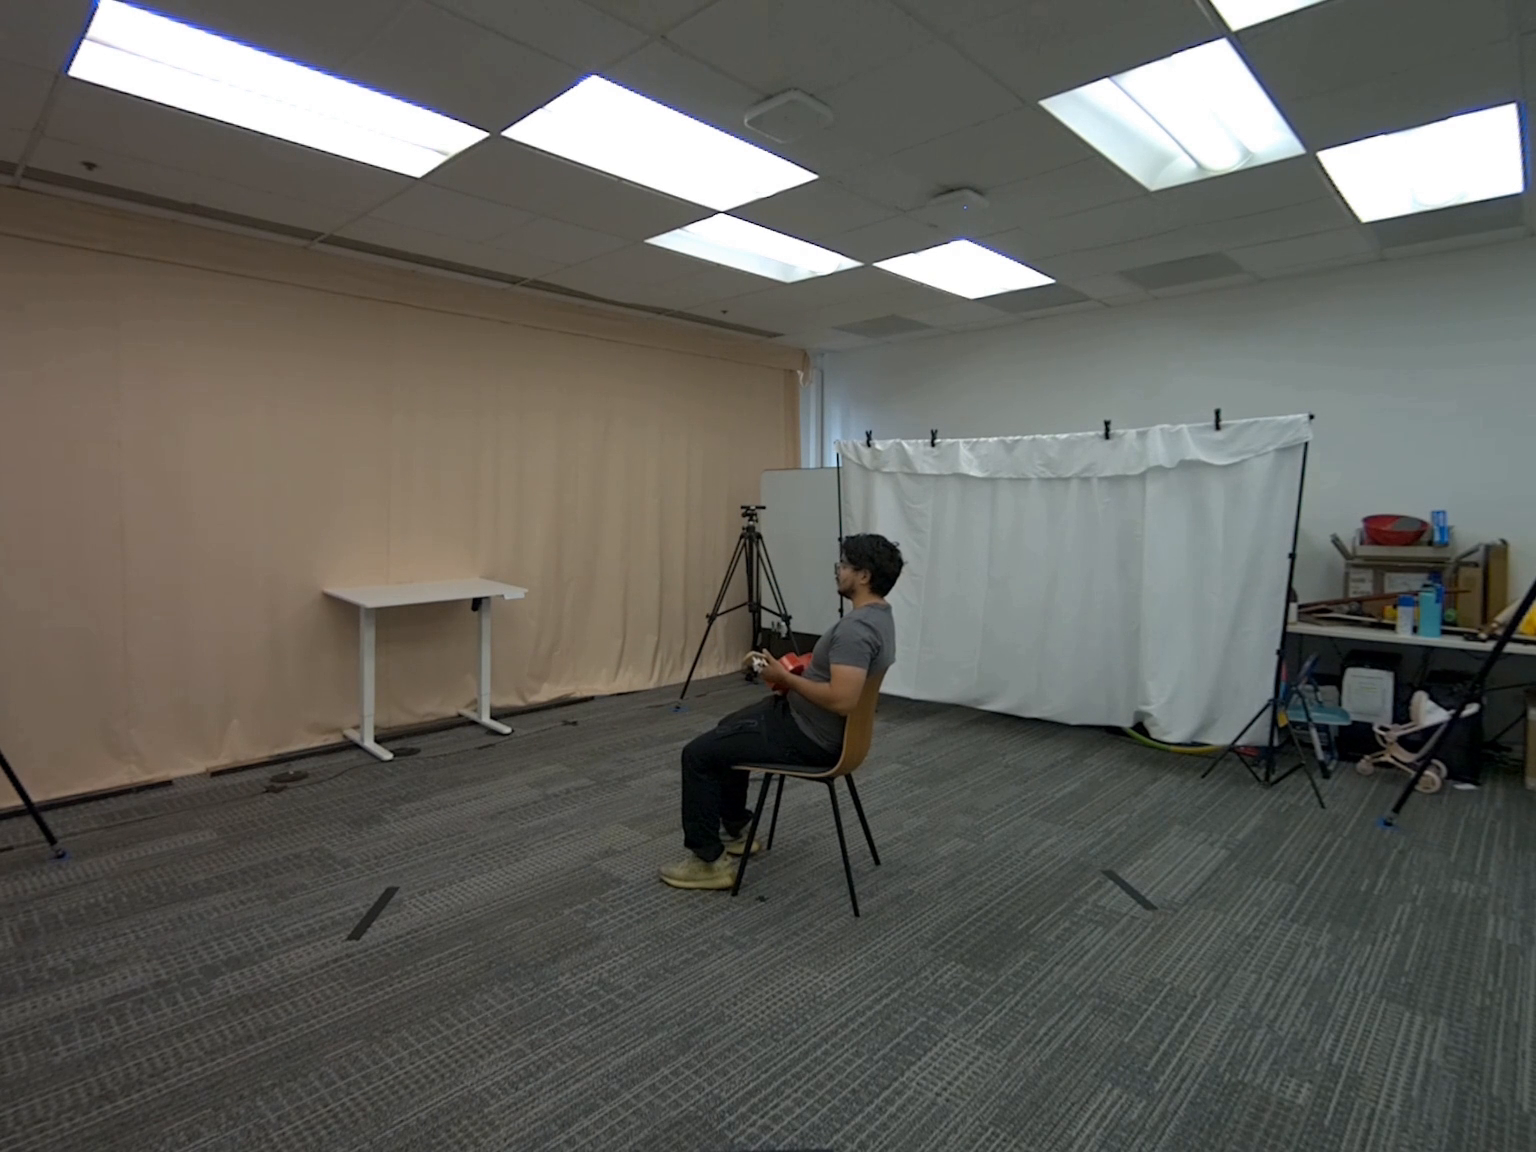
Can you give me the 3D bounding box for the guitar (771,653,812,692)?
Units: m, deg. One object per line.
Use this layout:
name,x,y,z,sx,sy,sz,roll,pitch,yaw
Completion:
guitar,0.025,0.360,3.065,0.072,0.194,0.482,52,21,25
